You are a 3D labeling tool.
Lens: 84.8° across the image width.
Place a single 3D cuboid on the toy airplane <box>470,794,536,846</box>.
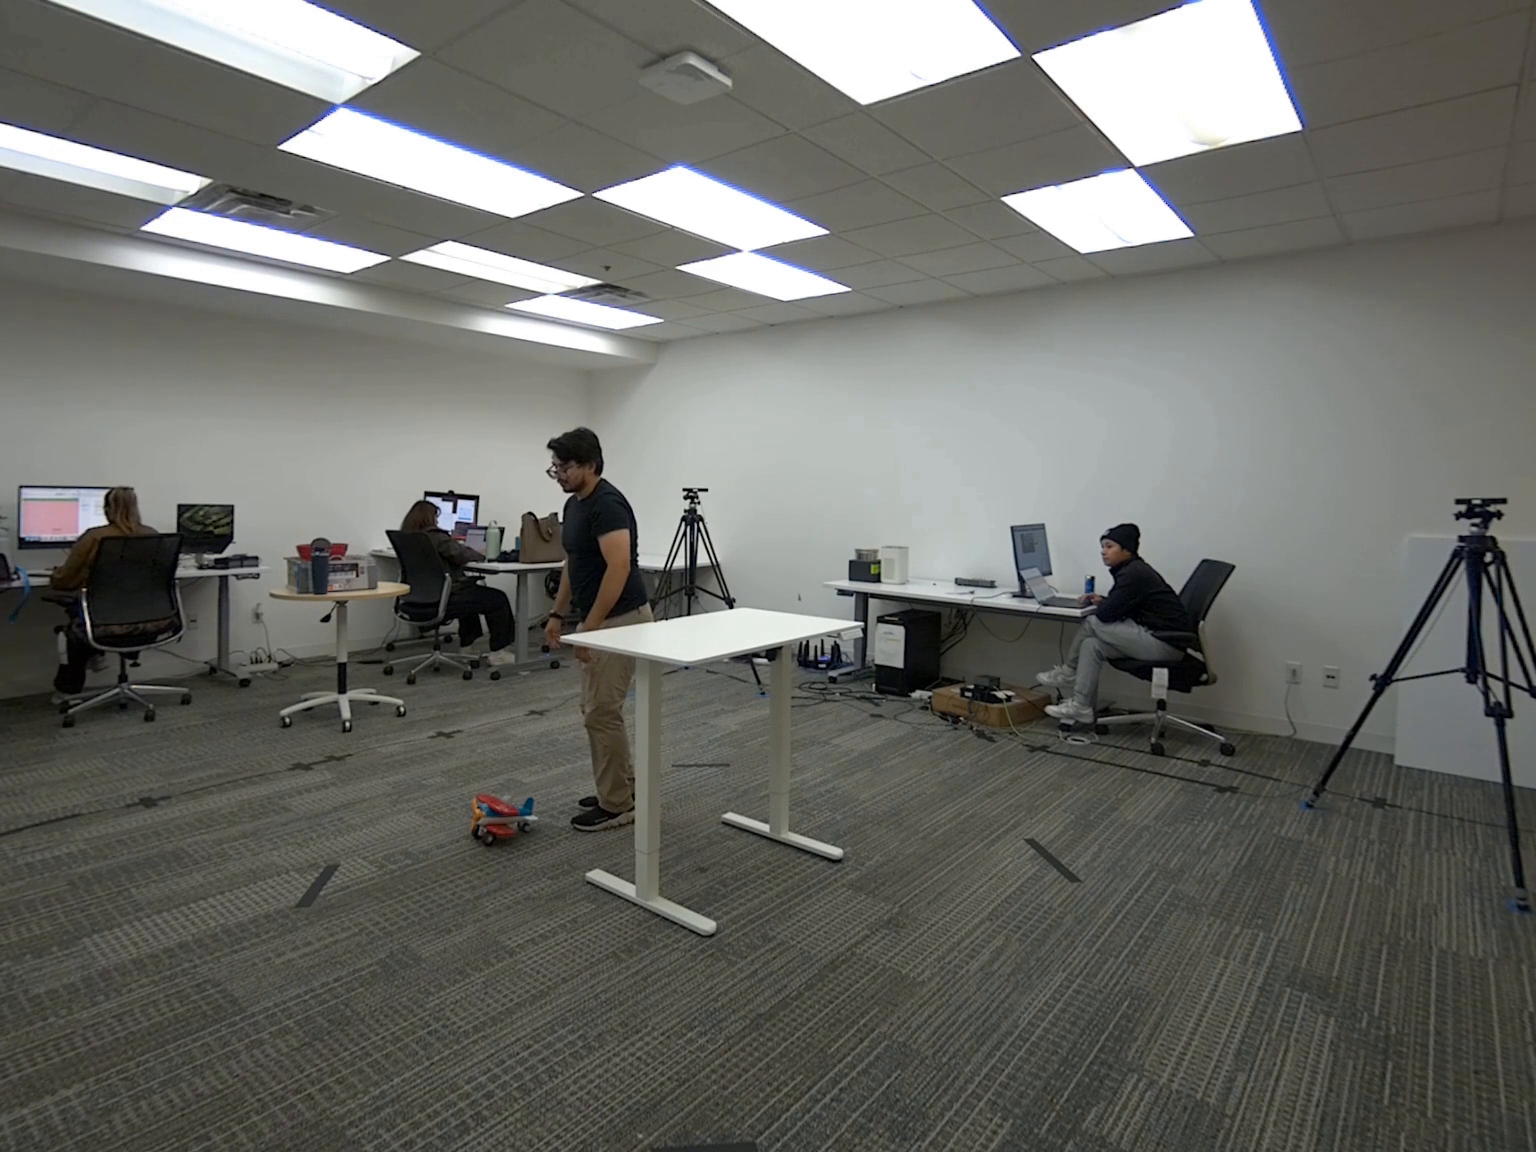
[{"bbox_3d":[-1.077,0.956,3.387,0.256,0.155,0.255,3,7,17],"label":"toy airplane"}]
